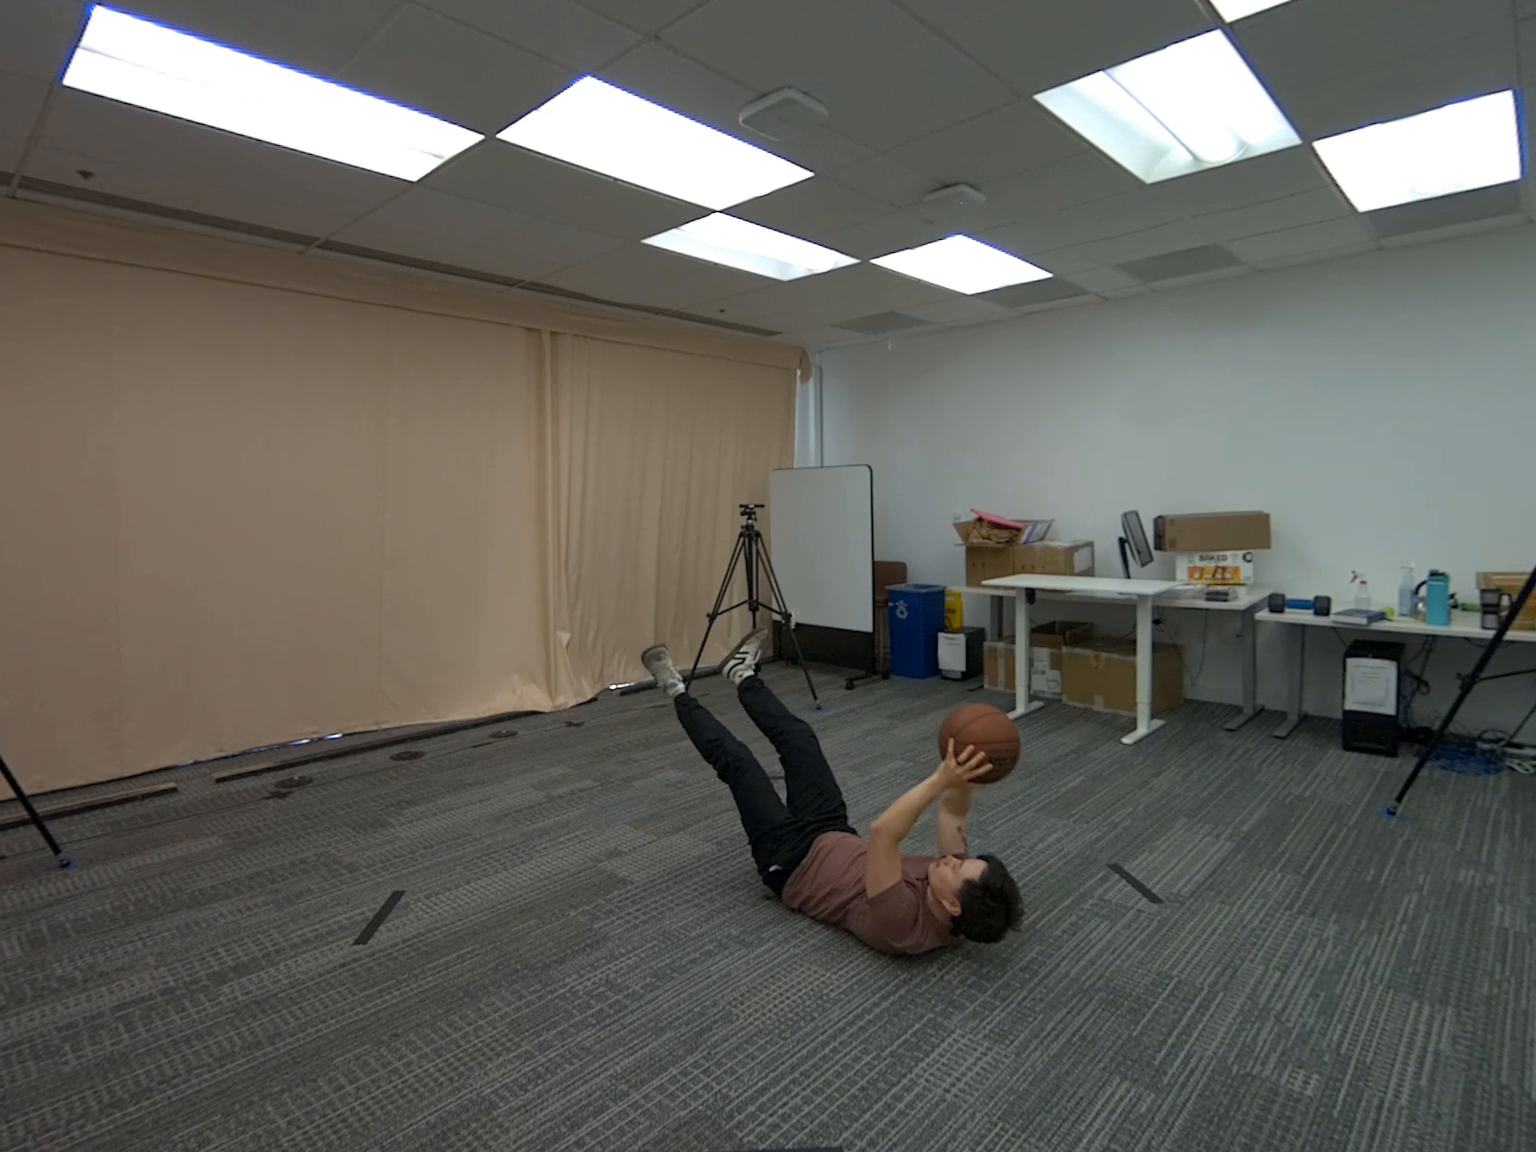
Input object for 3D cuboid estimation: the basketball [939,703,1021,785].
[{"bbox_3d":[0.633,0.507,2.512,0.236,0.235,0.236,-1,3,-2],"label":"basketball"}]
